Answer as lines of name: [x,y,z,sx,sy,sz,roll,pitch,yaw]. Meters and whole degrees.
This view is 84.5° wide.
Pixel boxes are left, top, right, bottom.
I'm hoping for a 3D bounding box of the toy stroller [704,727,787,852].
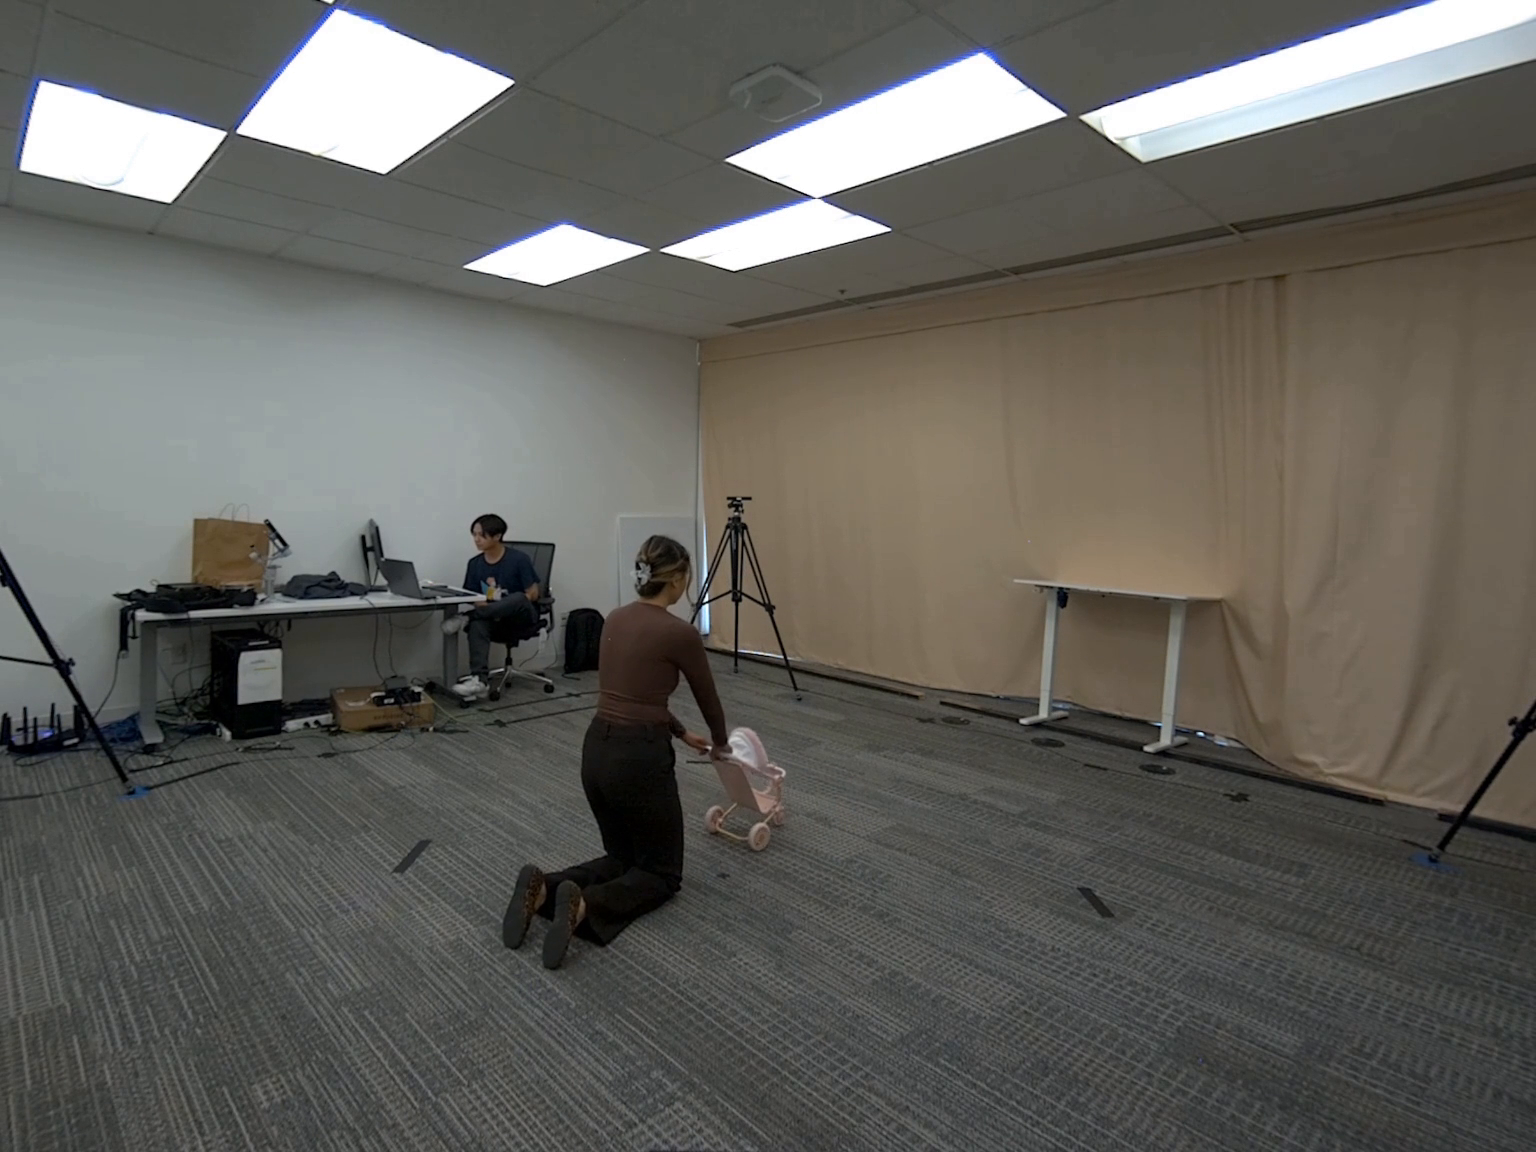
toy stroller: [-0.089,0.853,3.452,0.337,0.528,0.289,-23,19,-39]
